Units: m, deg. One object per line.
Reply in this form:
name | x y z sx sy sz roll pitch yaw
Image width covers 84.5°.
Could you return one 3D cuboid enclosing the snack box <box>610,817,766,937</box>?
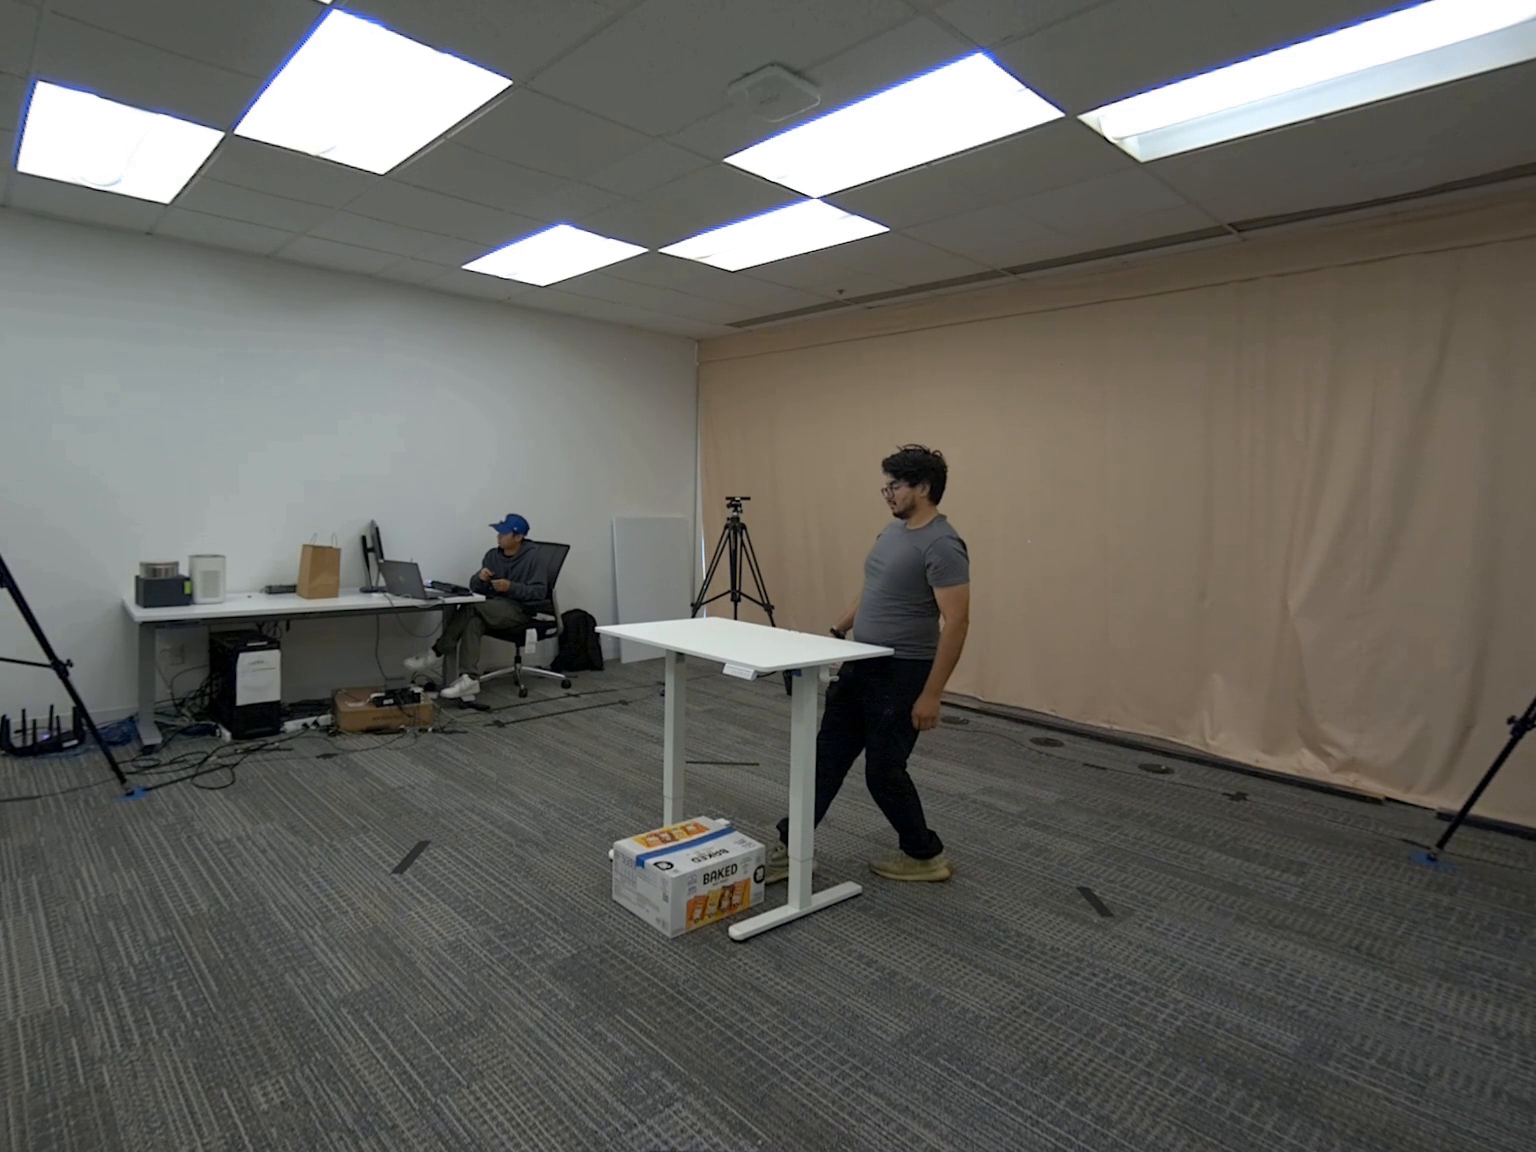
snack box | -0.276 1.022 2.889 0.396 0.205 0.349 -3 6 -42
